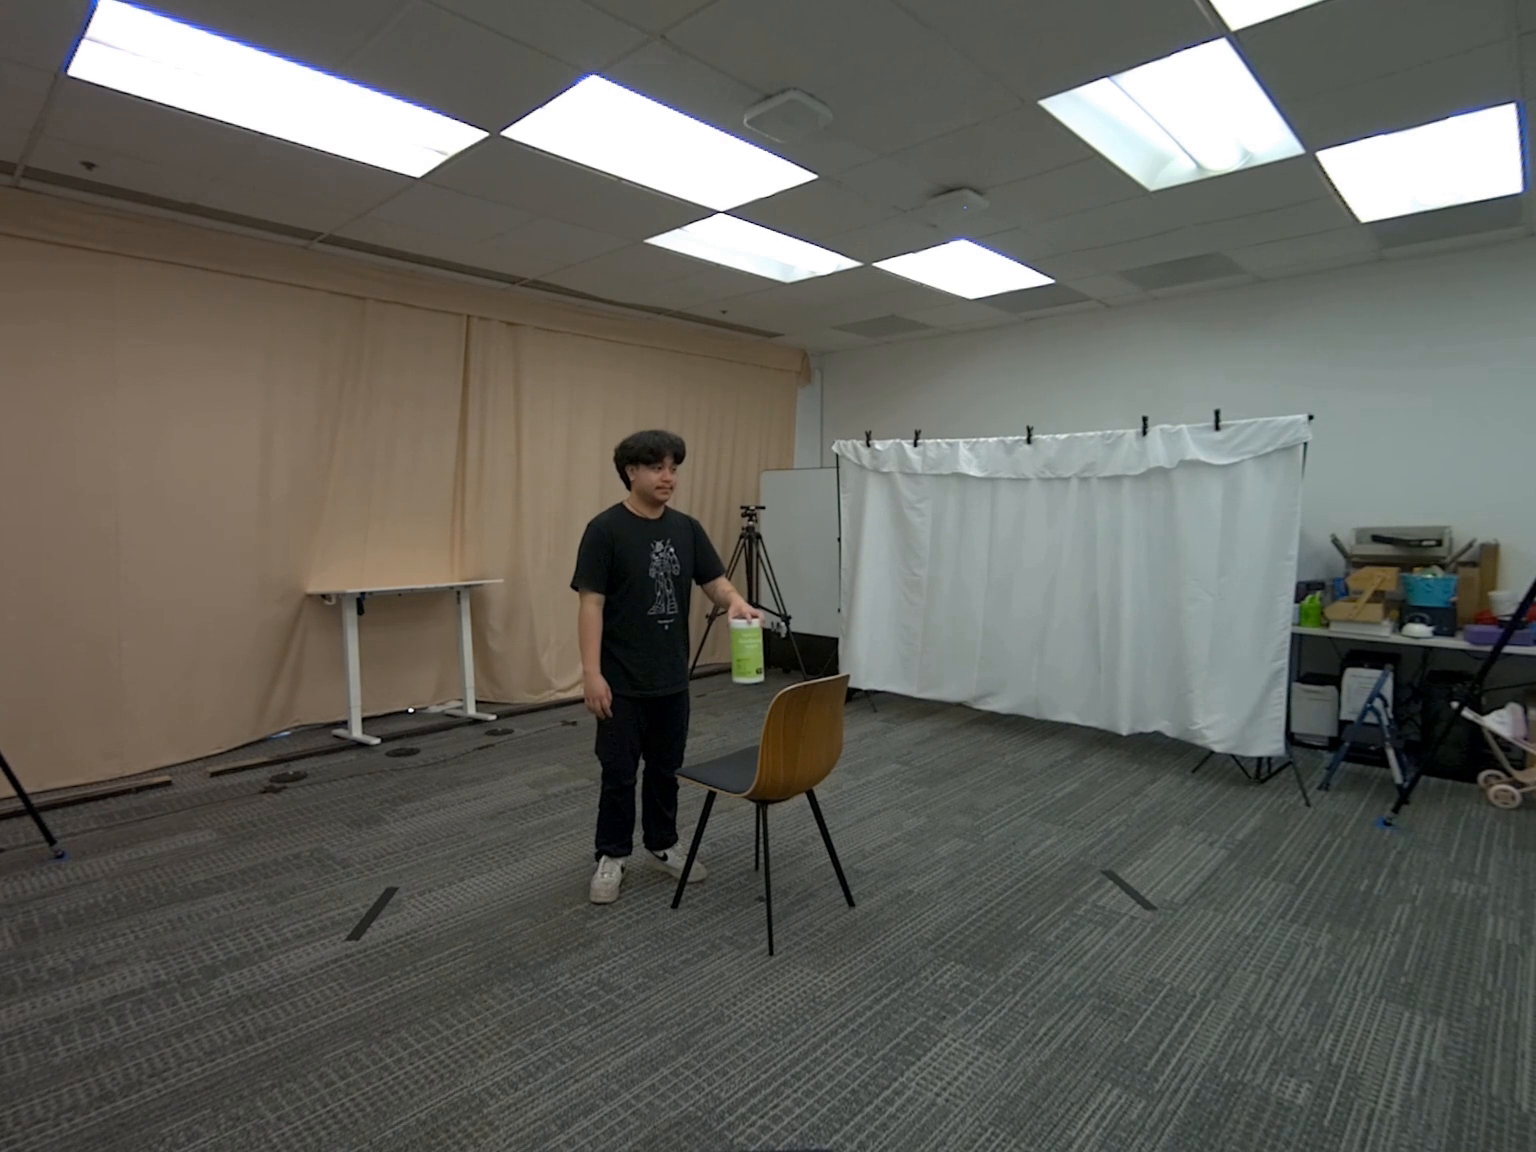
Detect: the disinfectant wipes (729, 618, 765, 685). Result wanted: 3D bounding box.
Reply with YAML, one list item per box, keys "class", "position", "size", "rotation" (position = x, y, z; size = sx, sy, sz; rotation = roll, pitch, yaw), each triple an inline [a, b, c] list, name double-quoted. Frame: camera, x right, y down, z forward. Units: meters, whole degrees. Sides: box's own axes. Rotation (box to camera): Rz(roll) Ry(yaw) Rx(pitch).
- class: "disinfectant wipes"
  position: [-0.071, 0.258, 2.870]
  size: [0.118, 0.217, 0.118]
  rotation: [-2, 0, -2]
